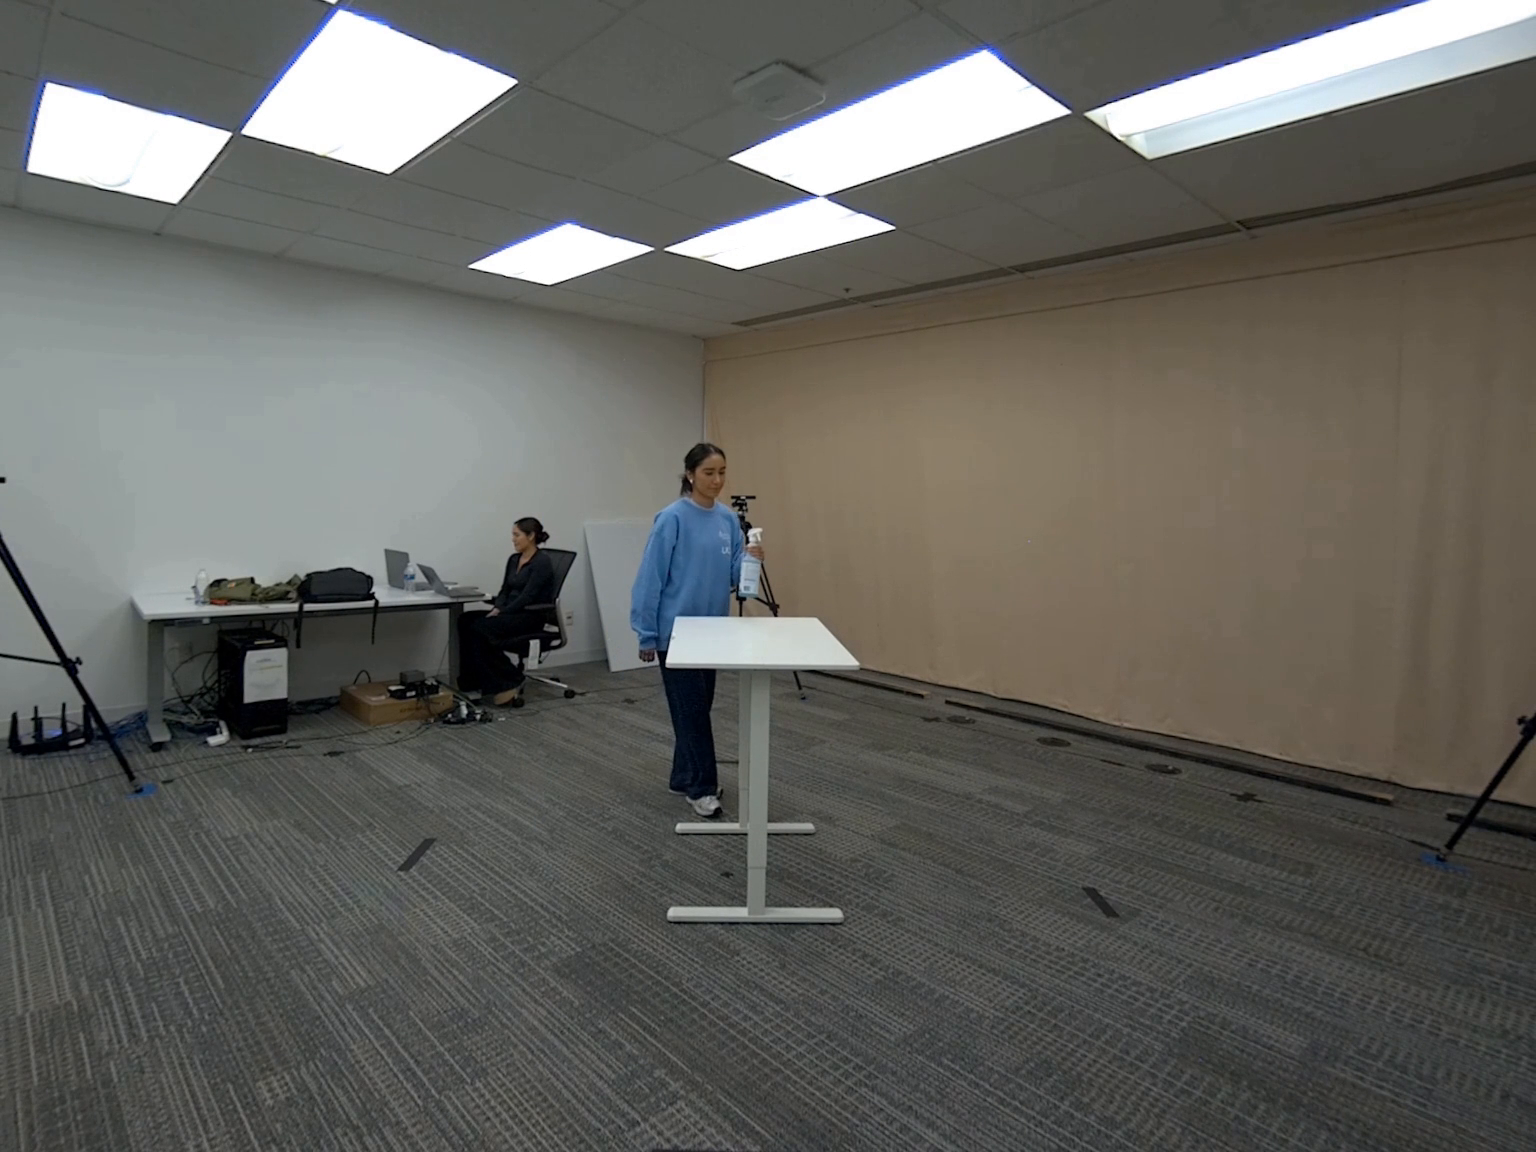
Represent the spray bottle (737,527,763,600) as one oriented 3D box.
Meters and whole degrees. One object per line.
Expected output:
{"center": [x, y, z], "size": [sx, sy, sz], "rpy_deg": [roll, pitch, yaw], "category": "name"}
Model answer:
{"center": [-0.080, -0.058, 3.617], "size": [0.086, 0.298, 0.090], "rpy_deg": [5, -4, -12], "category": "spray bottle"}
